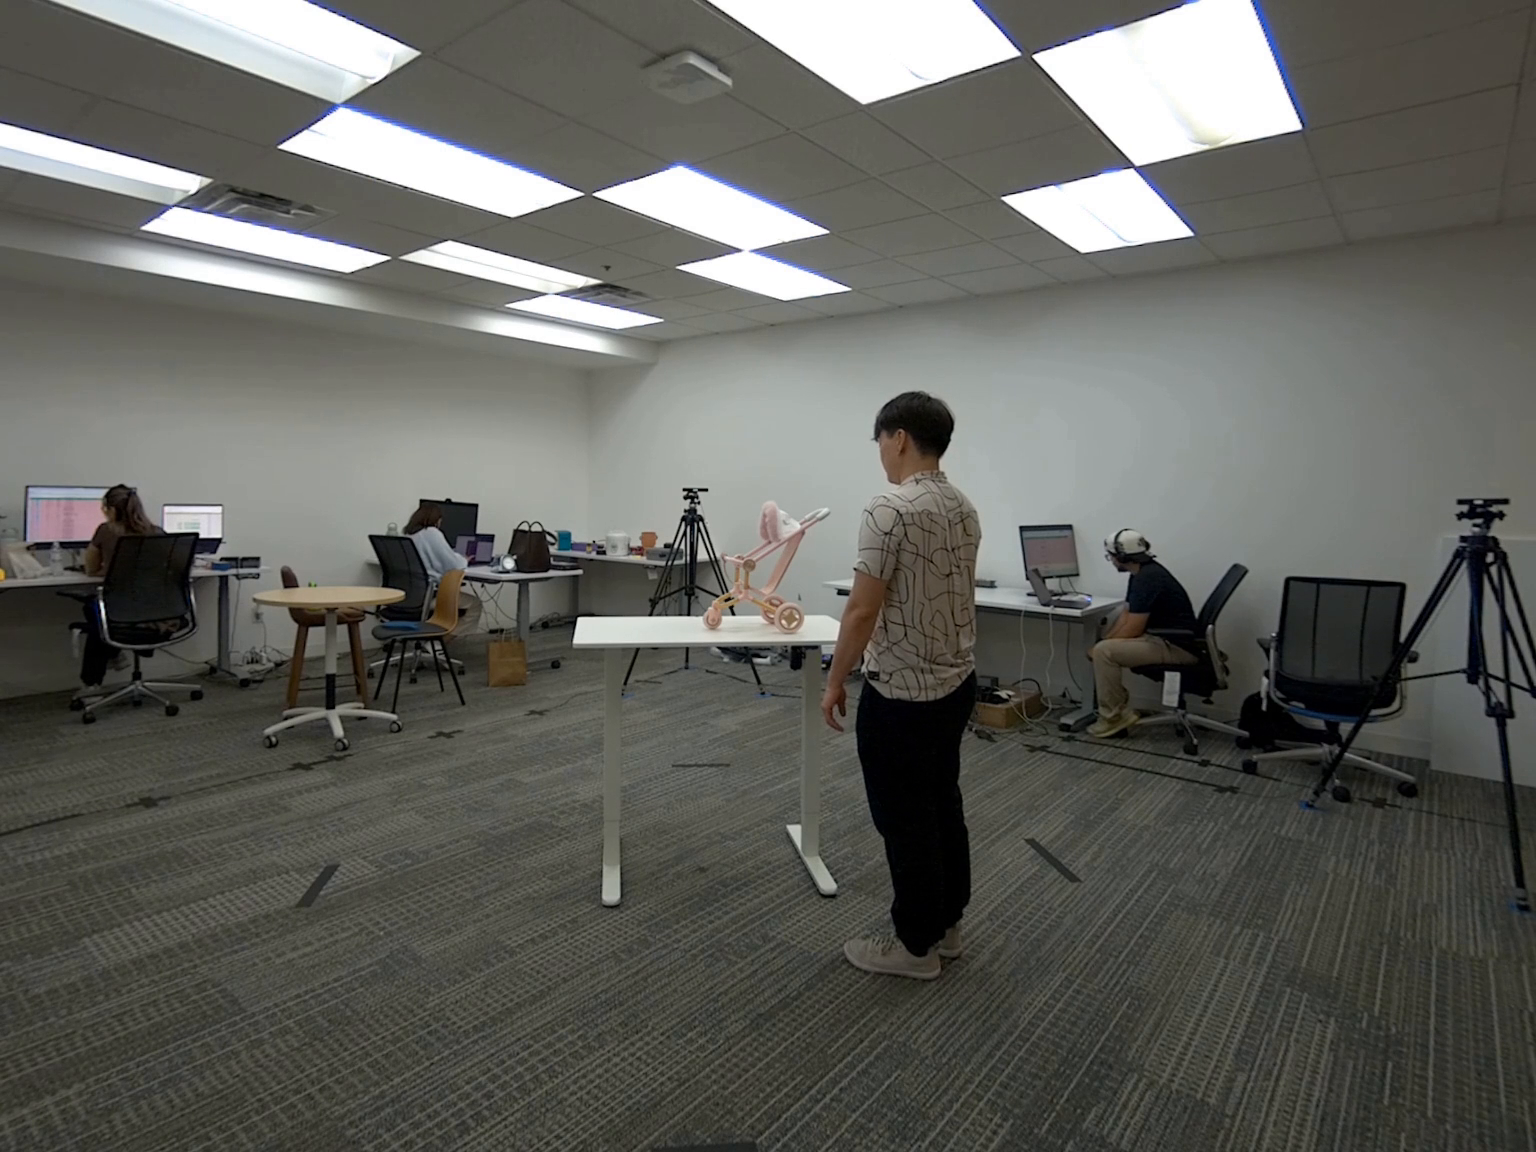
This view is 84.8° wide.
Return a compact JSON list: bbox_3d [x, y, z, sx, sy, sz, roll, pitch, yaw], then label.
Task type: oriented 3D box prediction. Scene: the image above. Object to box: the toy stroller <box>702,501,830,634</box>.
[{"bbox_3d":[-0.025,-0.034,3.098,0.339,0.534,0.283,15,1,-5],"label":"toy stroller"}]
